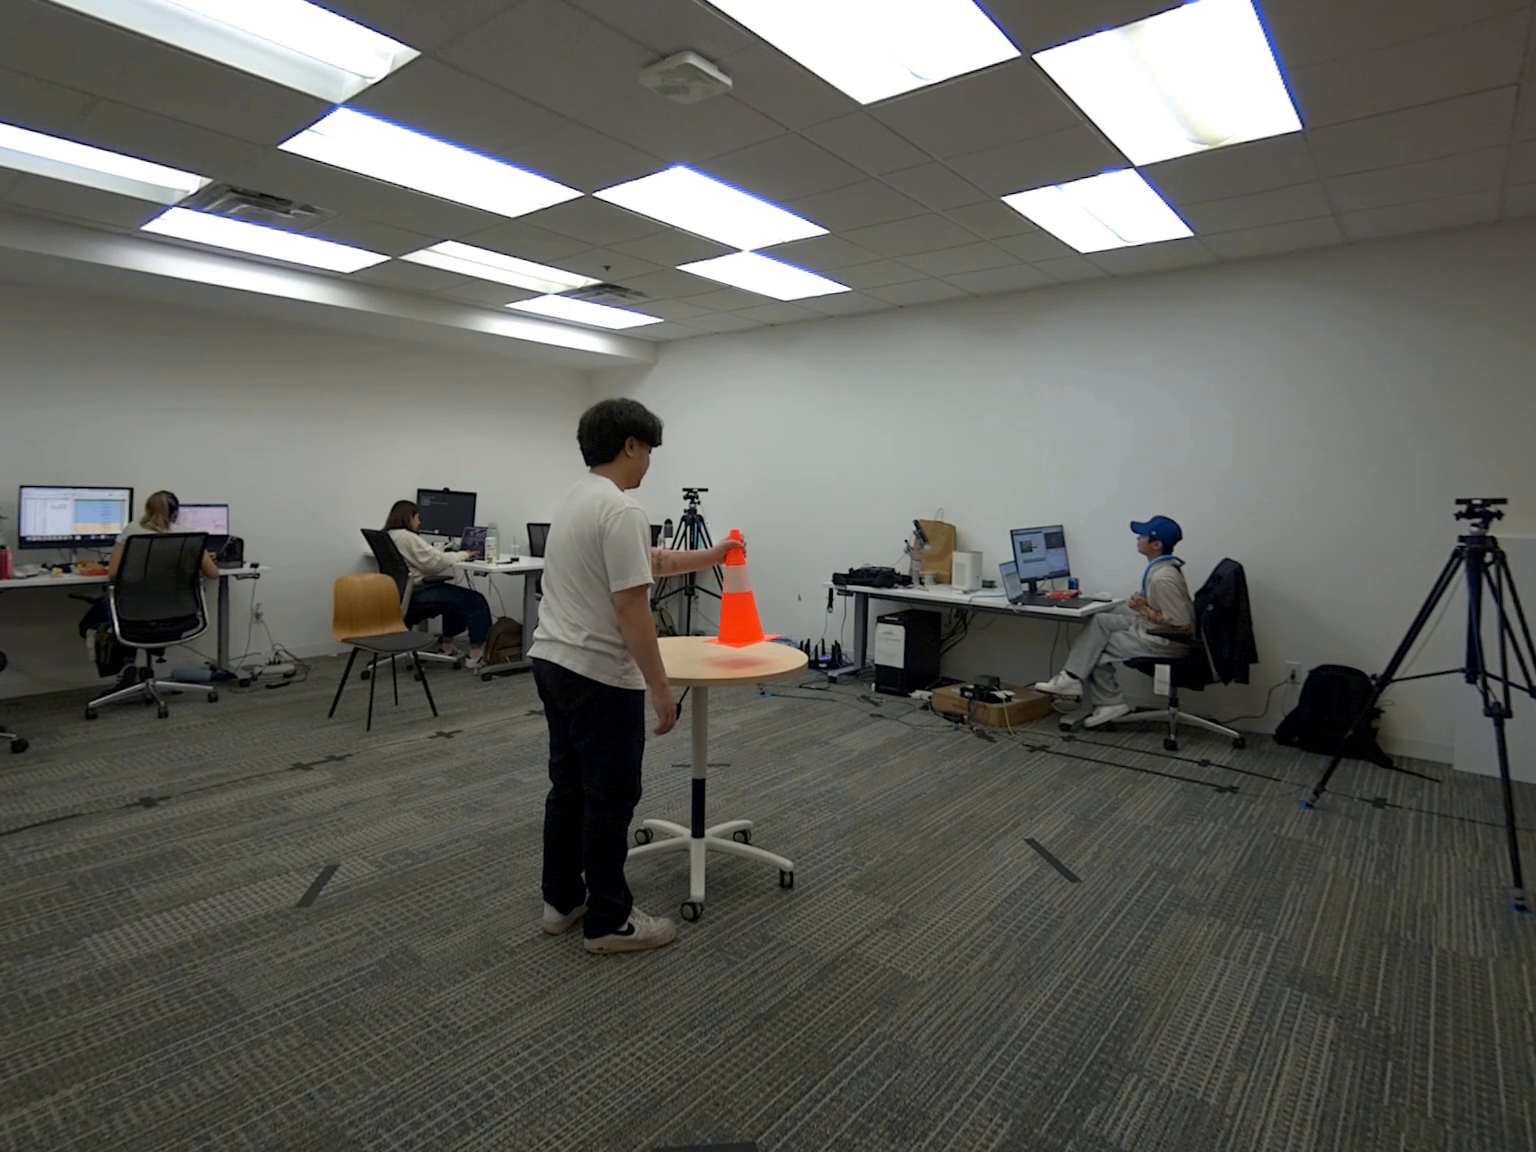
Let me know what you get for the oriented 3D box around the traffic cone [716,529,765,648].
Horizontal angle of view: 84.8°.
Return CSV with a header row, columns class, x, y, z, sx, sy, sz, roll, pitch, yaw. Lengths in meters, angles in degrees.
class,x,y,z,sx,sy,sz,roll,pitch,yaw
traffic cone,-0.115,0.037,2.896,0.211,0.382,0.198,0,5,33
